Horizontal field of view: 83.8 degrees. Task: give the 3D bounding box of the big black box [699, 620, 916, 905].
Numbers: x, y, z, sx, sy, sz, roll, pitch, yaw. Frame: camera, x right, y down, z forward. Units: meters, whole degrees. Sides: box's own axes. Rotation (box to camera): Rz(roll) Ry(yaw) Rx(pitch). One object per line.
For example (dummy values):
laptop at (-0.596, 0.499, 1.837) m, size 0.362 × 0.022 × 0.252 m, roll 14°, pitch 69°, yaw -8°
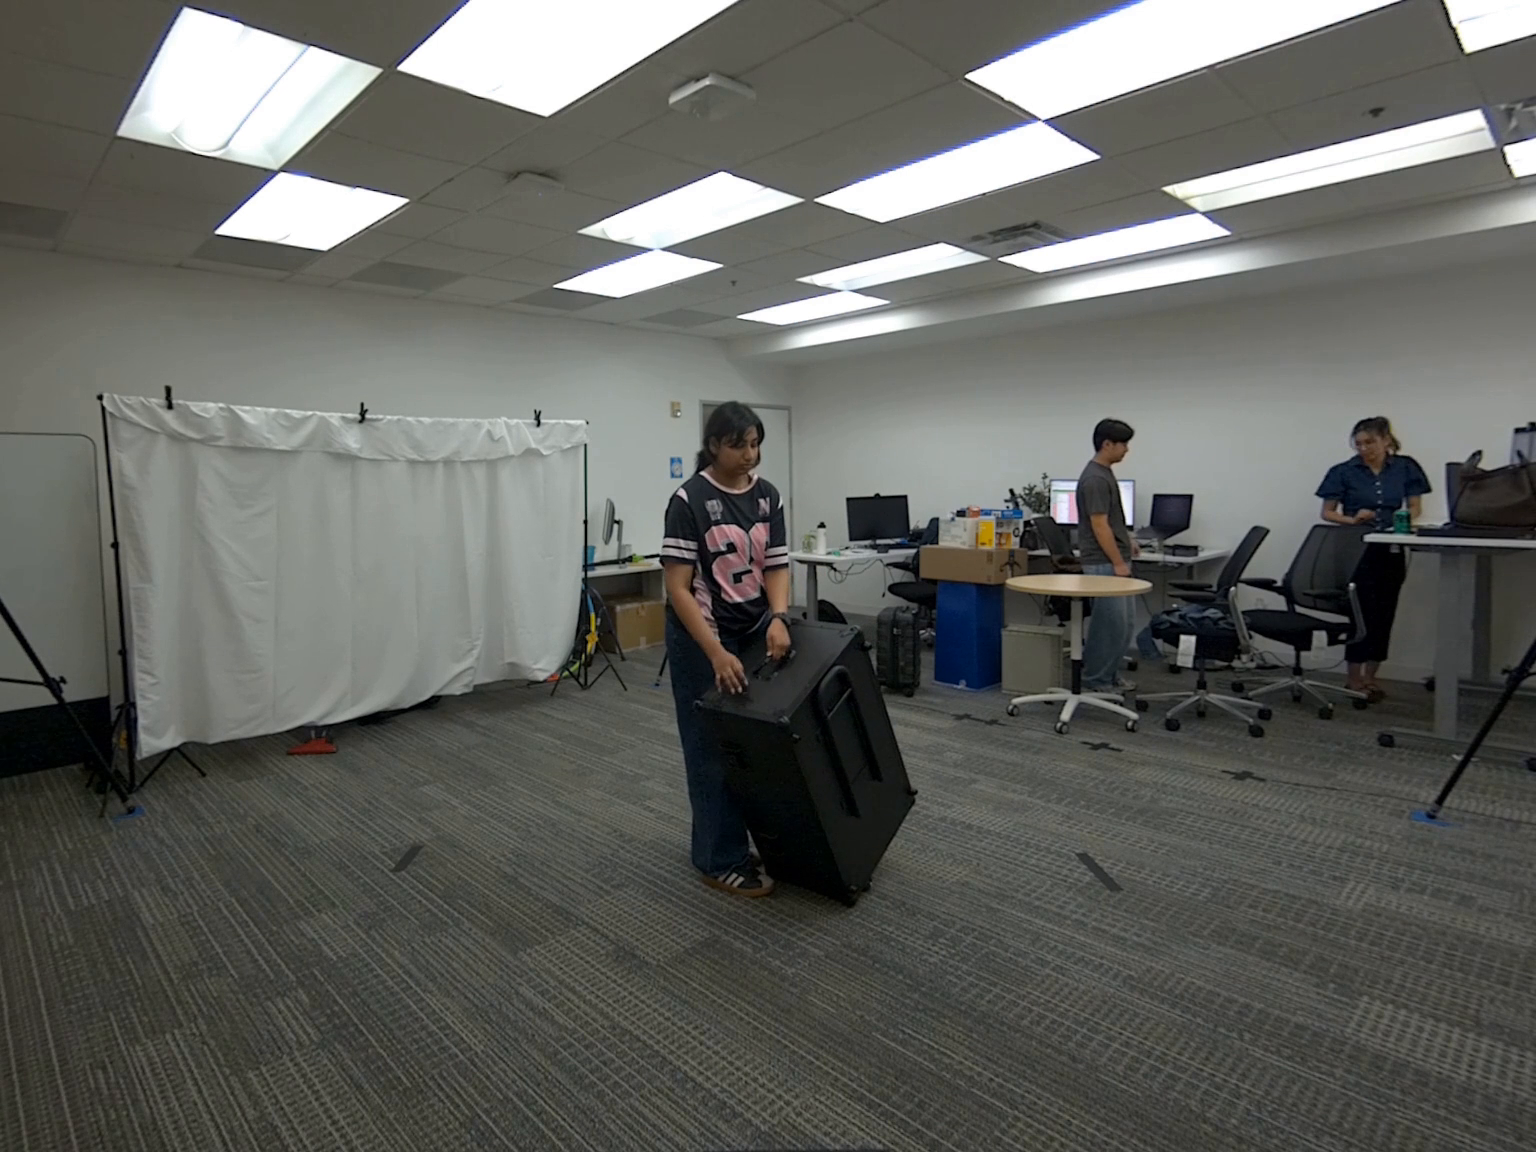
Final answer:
big black box at (0.172, 0.634, 2.900) m, size 0.396 × 0.845 × 0.522 m, roll 2°, pitch 33°, yaw 38°
